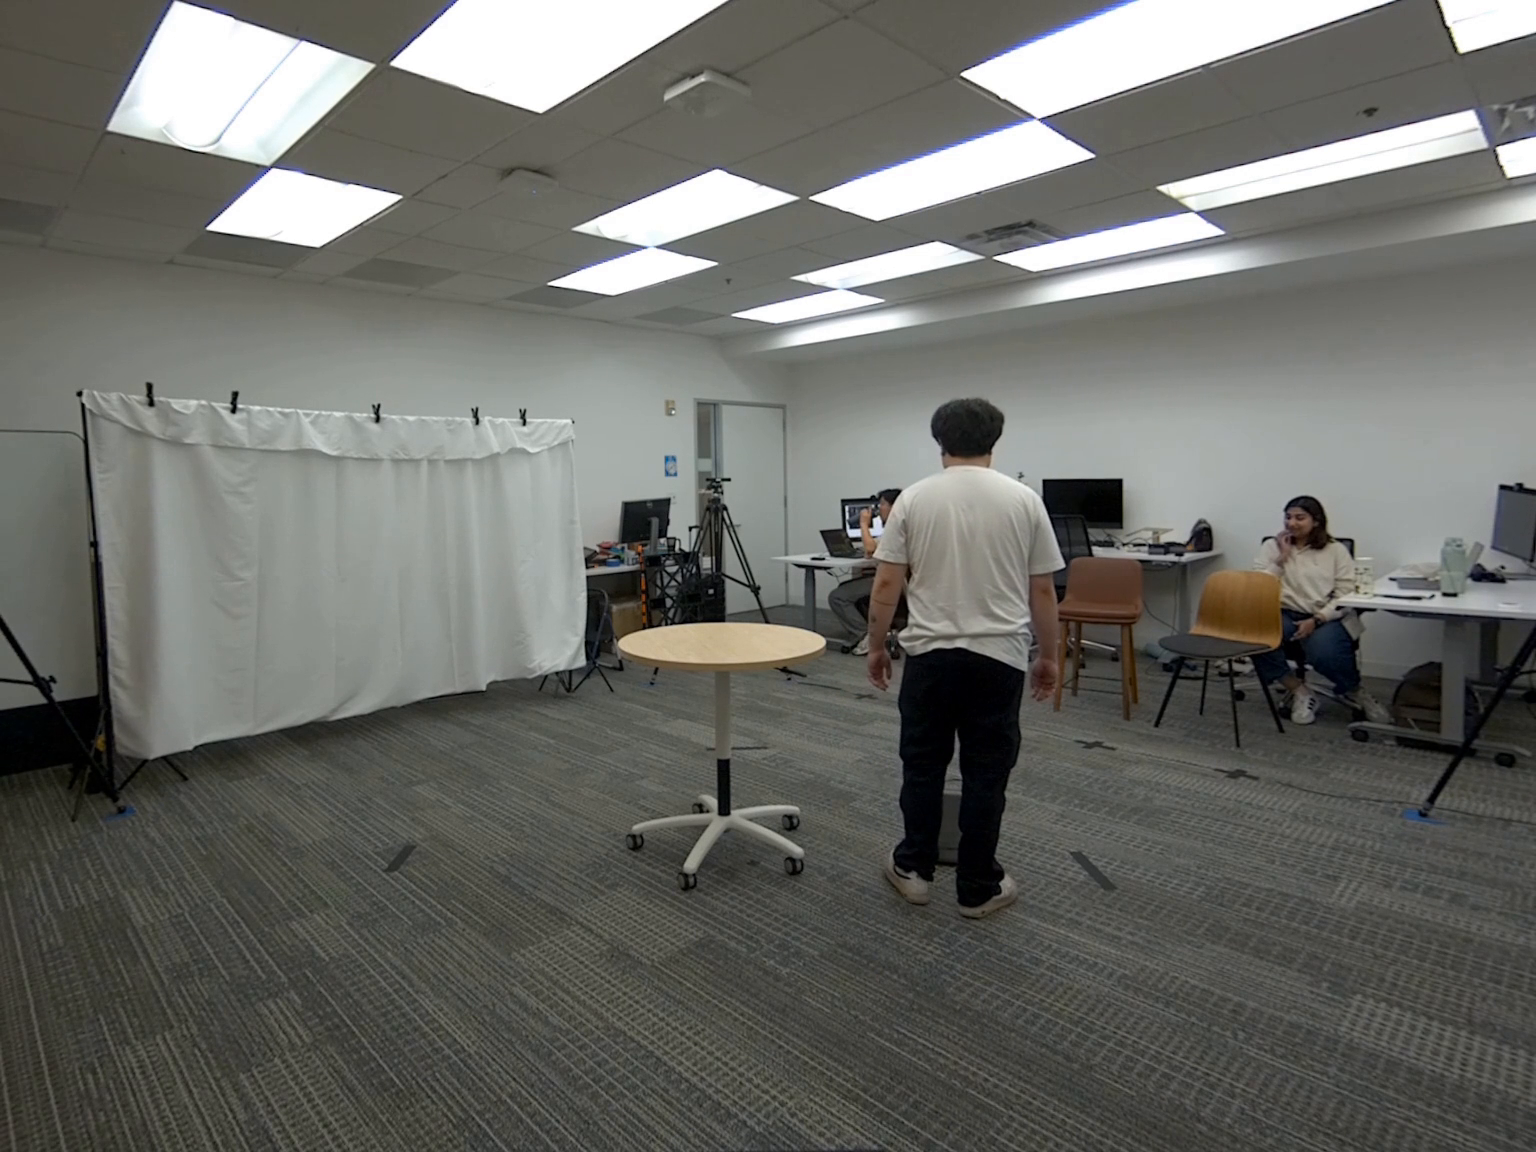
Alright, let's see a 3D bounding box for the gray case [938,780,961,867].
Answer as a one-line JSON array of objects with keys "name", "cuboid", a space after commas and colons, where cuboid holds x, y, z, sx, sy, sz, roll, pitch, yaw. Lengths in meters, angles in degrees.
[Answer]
[{"name": "gray case", "cuboid": [0.680, 0.903, 3.103, 0.260, 0.262, 0.102, -1, -7, 13]}]
